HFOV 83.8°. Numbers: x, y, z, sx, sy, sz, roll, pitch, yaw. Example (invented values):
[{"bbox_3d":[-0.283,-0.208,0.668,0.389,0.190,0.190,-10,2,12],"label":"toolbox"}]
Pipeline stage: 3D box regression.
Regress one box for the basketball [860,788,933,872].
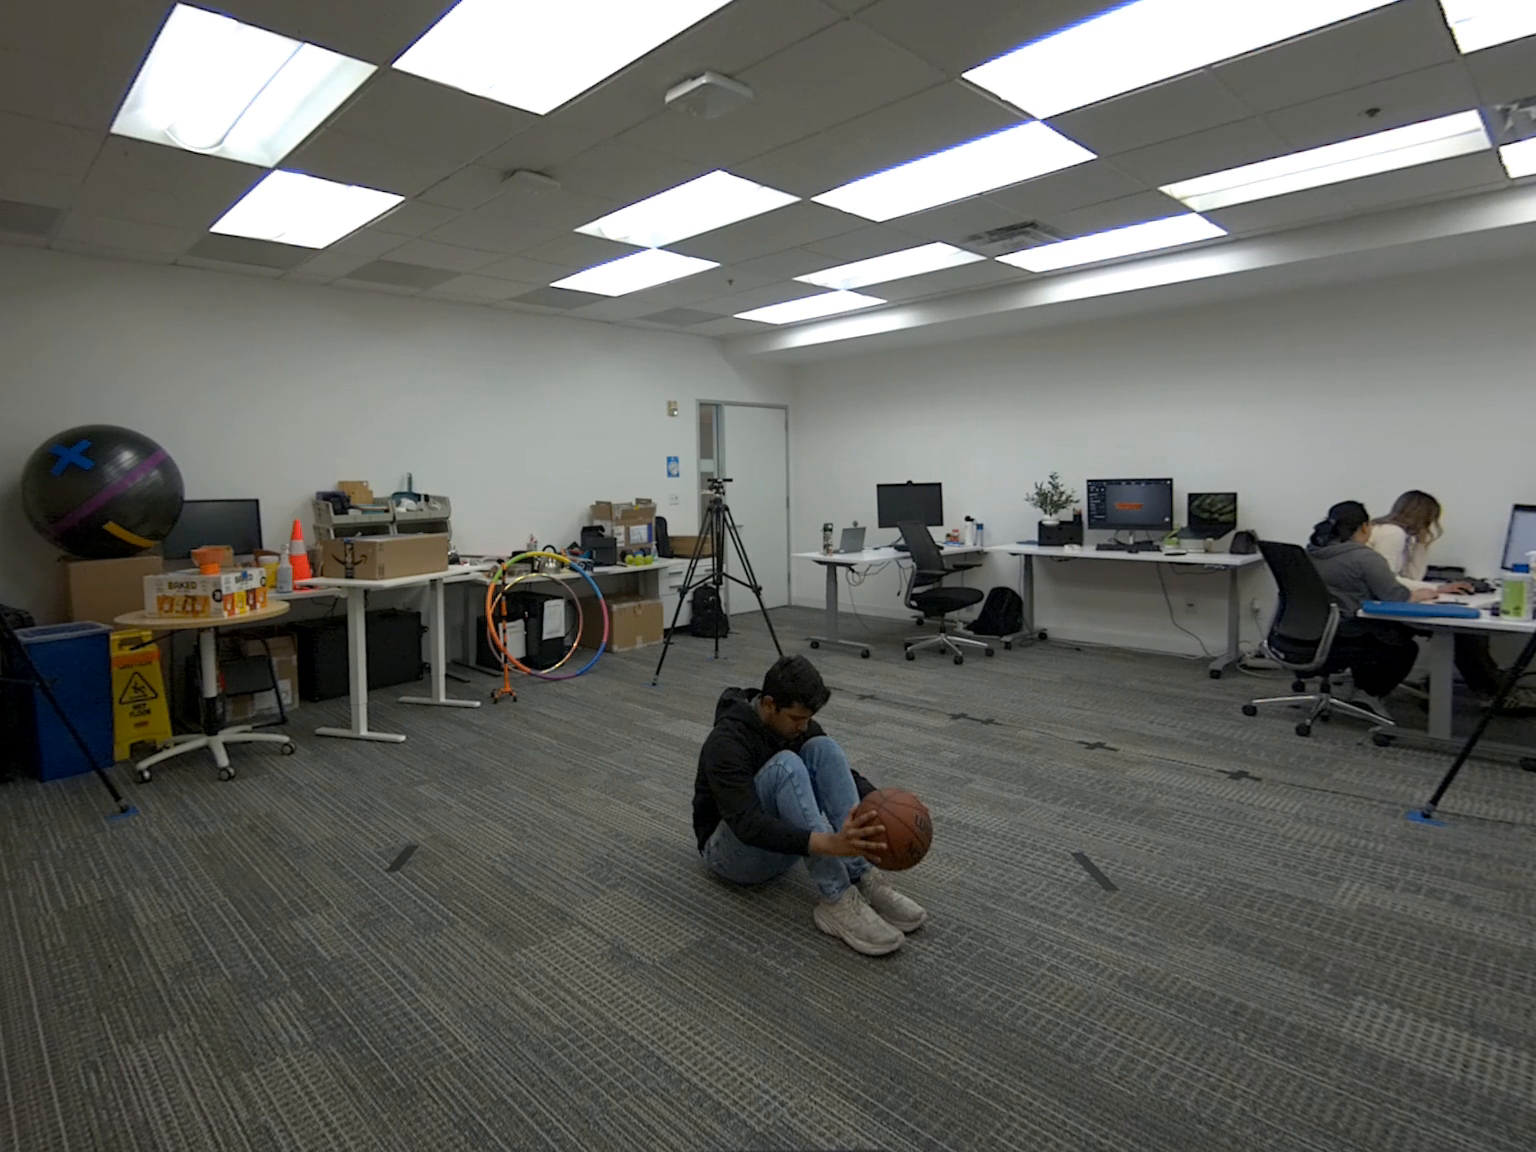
[{"bbox_3d":[0.365,0.755,2.591,0.236,0.235,0.237,-1,5,-2],"label":"basketball"}]
